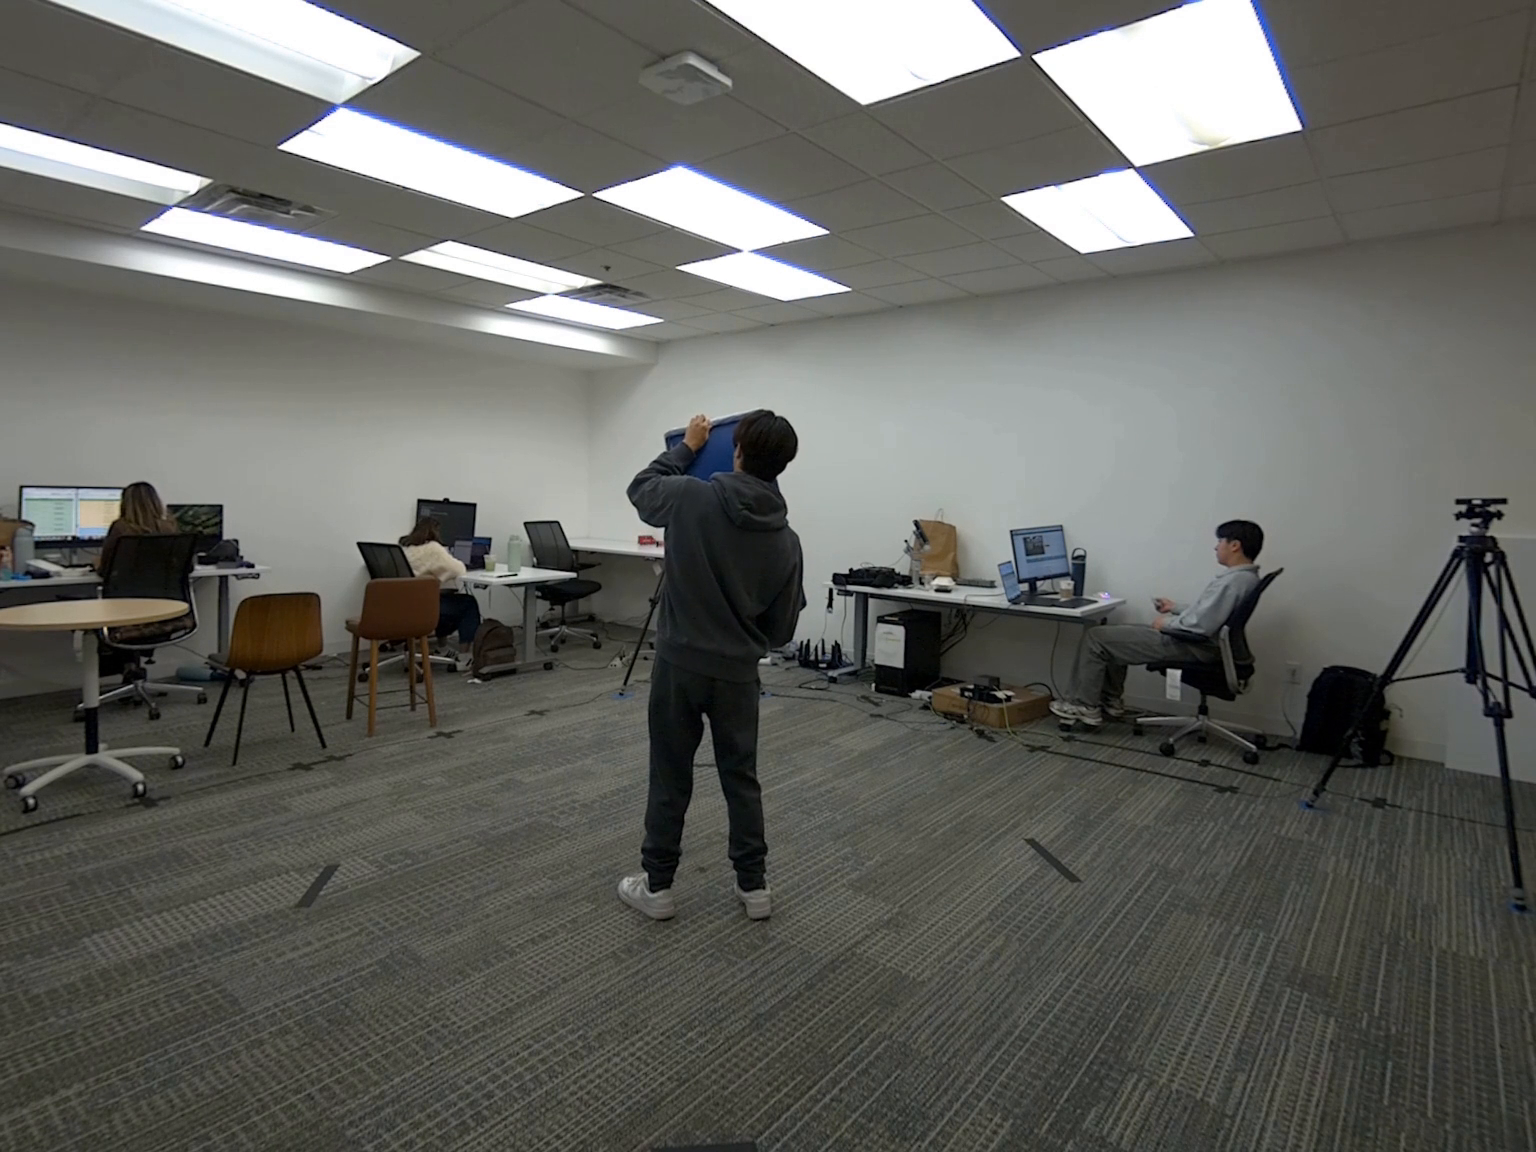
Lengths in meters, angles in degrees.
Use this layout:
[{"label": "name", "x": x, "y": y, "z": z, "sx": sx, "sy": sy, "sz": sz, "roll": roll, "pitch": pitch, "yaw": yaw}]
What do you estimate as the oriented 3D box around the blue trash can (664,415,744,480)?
[{"label": "blue trash can", "x": -0.121, "y": -0.193, "z": 3.113, "sx": 0.377, "sy": 0.722, "sz": 0.371, "roll": -13, "pitch": -9, "yaw": -5}]
